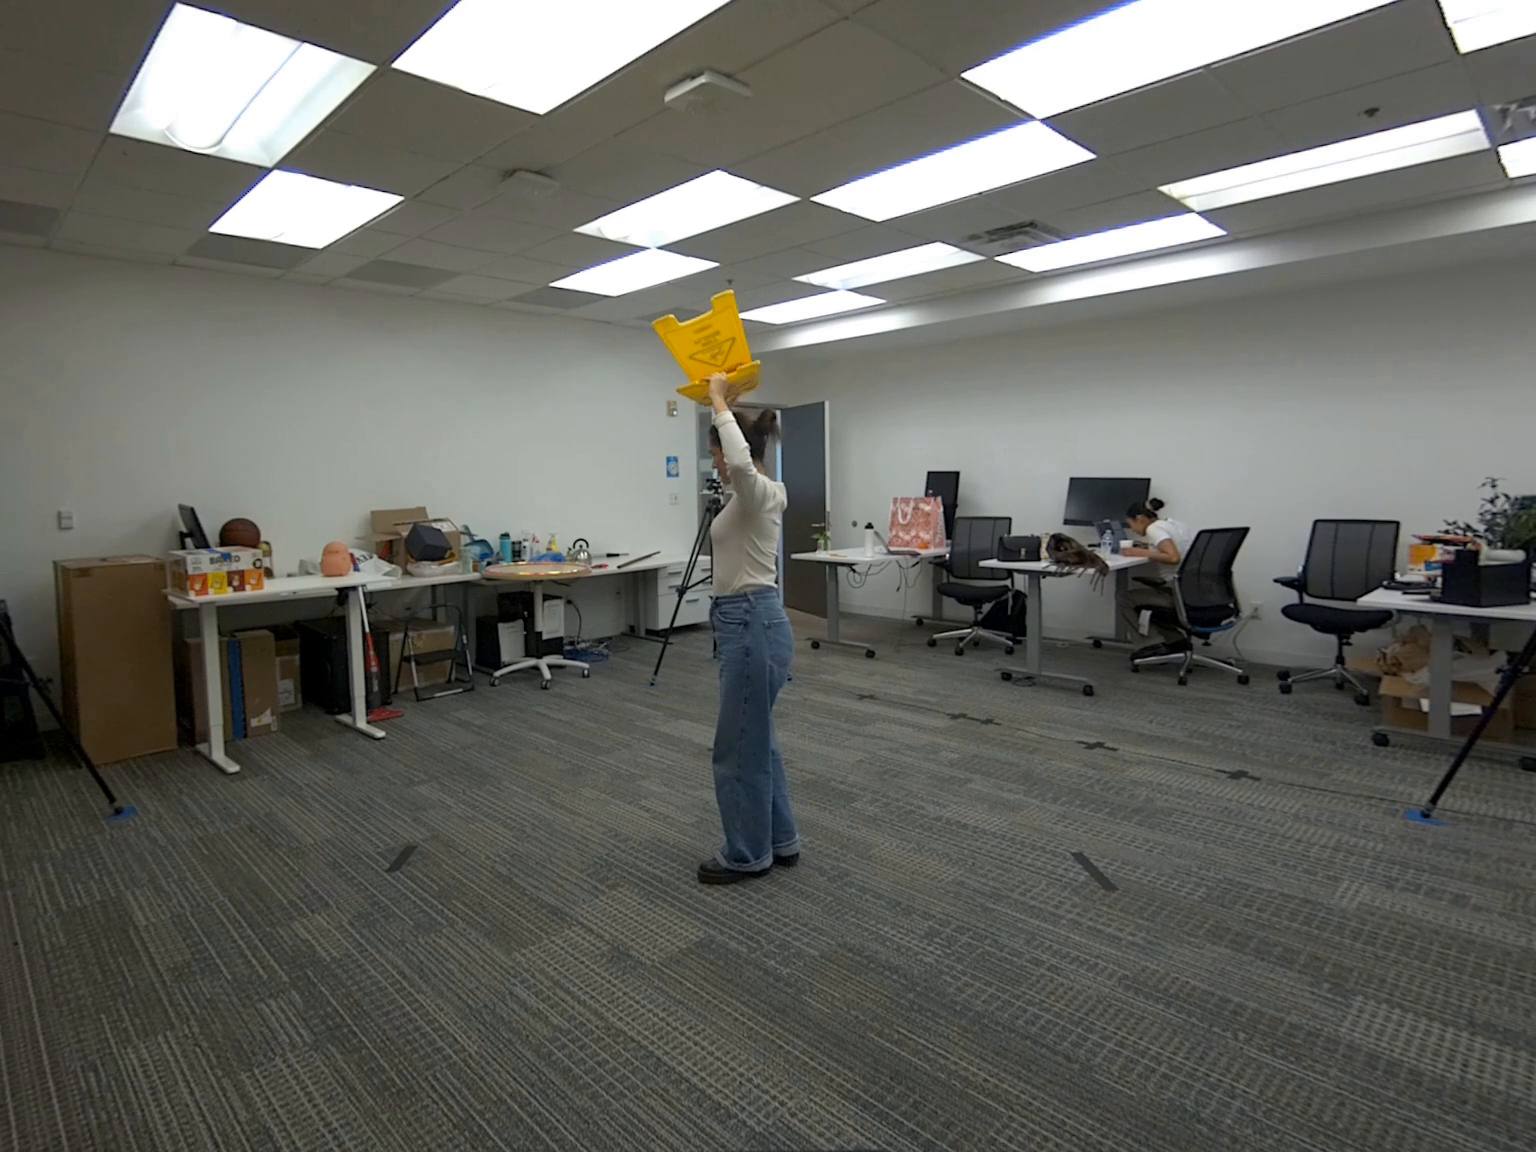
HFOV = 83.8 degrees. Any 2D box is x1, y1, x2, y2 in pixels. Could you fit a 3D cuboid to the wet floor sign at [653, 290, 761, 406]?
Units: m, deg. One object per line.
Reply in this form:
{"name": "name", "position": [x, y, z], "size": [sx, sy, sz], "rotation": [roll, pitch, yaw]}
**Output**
{"name": "wet floor sign", "position": [-0.166, -0.721, 3.009], "size": [0.283, 0.292, 0.639], "rotation": [-22, -4, 5]}
